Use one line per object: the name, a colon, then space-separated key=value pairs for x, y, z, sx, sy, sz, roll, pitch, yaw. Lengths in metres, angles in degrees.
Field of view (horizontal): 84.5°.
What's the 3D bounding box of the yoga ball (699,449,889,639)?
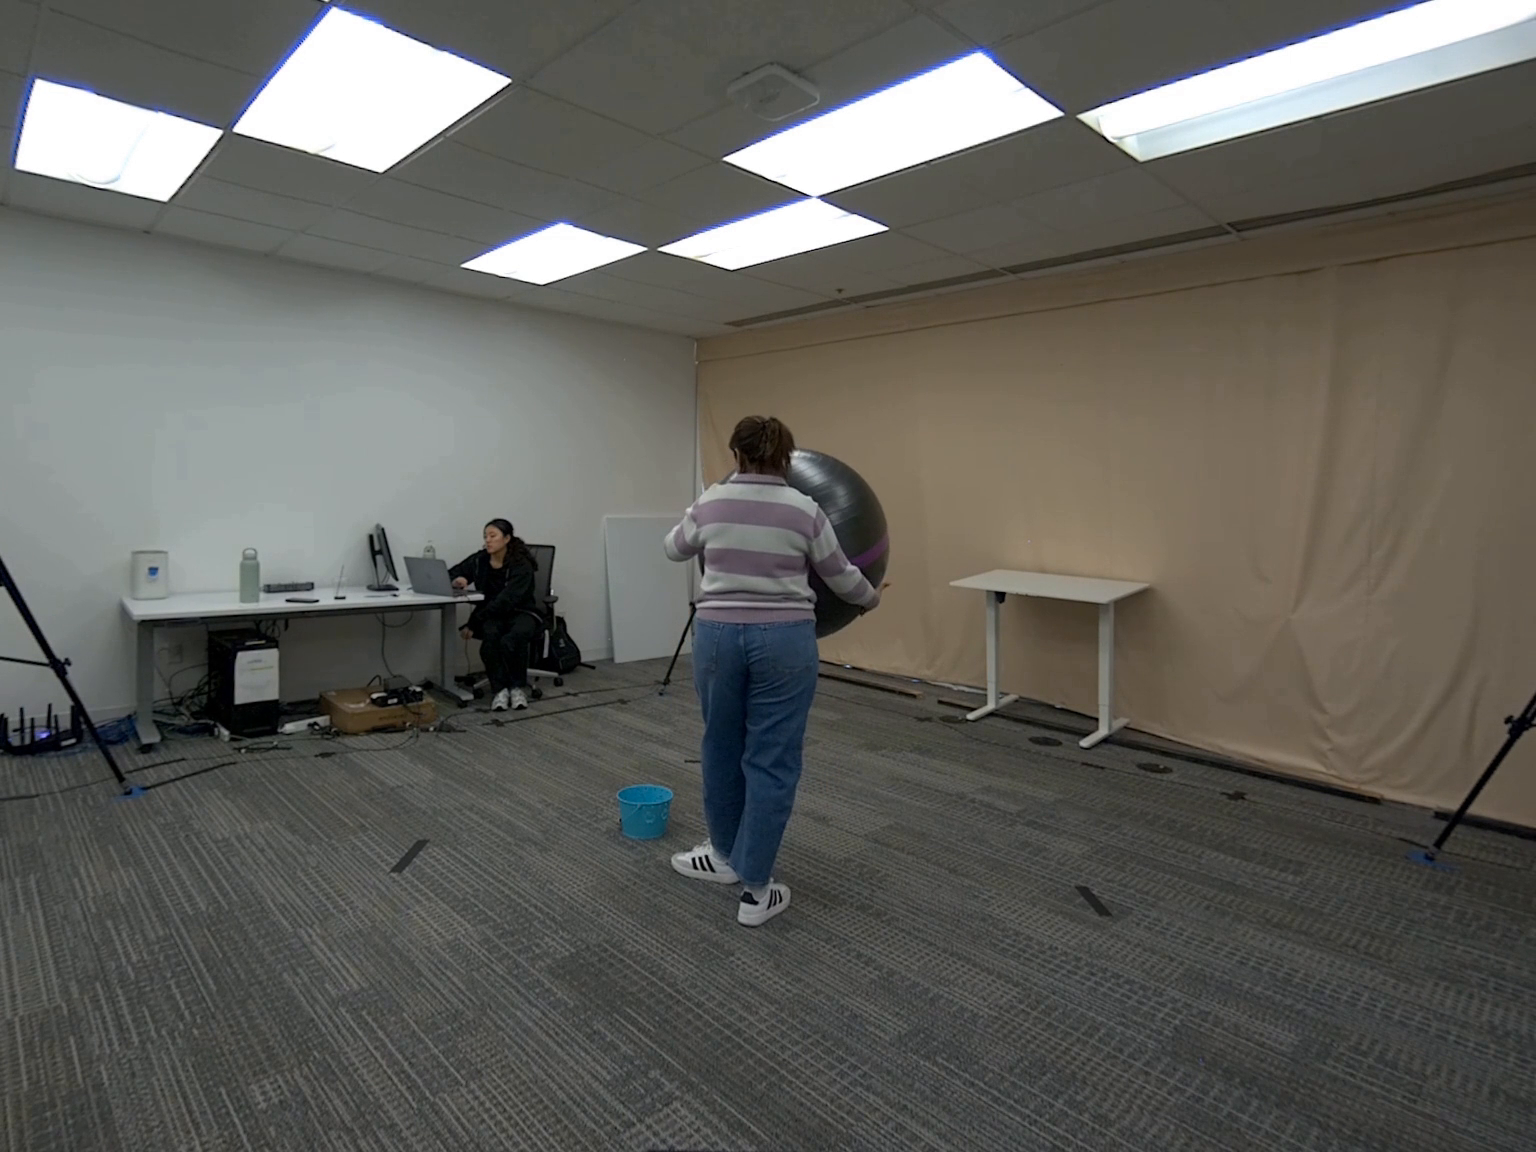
yoga ball: x=0.090 y=-0.121 z=3.330 sx=0.757 sy=0.756 sz=0.761 roll=1 pitch=4 yaw=-1
